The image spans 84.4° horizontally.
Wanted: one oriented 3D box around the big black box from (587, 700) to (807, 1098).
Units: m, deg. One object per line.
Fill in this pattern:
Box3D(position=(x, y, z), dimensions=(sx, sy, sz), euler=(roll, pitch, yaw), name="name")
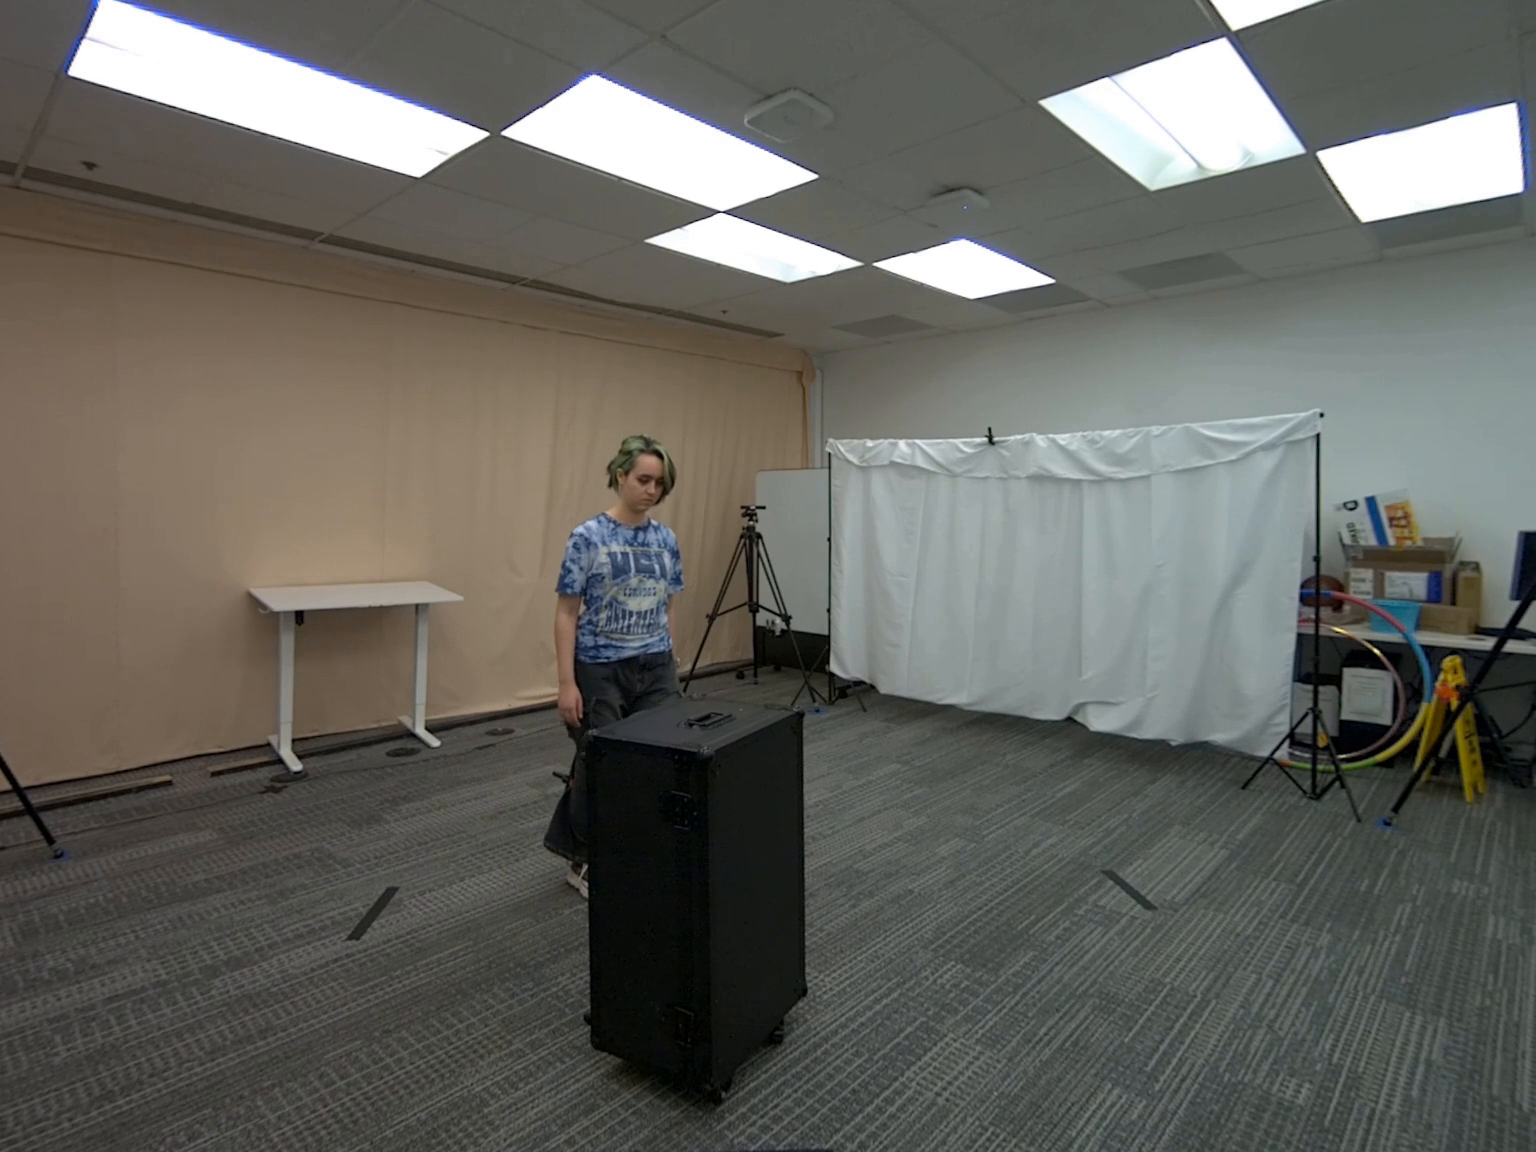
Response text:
Box3D(position=(-0.176, 0.789, 2.154), dimensions=(0.408, 0.860, 0.507), euler=(1, 3, 31), name="big black box")
